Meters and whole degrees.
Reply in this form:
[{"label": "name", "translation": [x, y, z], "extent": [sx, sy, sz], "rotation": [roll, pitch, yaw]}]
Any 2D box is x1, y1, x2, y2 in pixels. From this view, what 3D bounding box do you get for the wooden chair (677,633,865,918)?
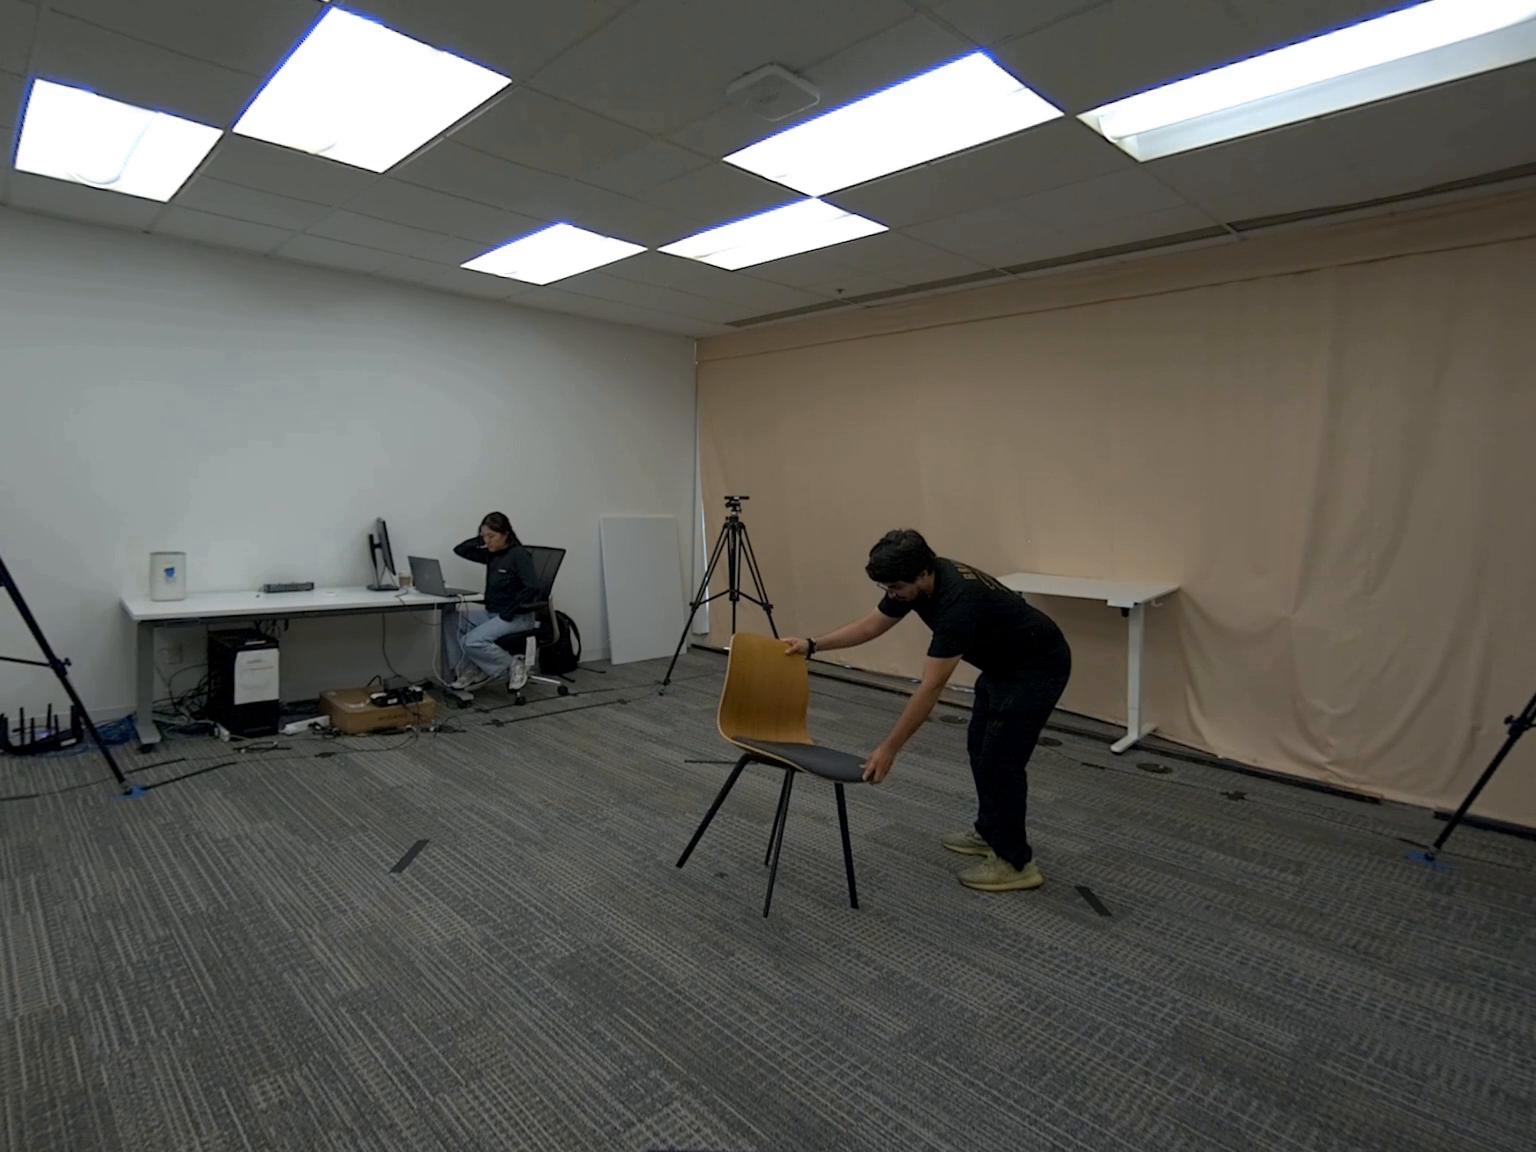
[{"label": "wooden chair", "translation": [0.080, 0.659, 2.915], "extent": [0.464, 0.882, 0.535], "rotation": [17, -12, -42]}]
